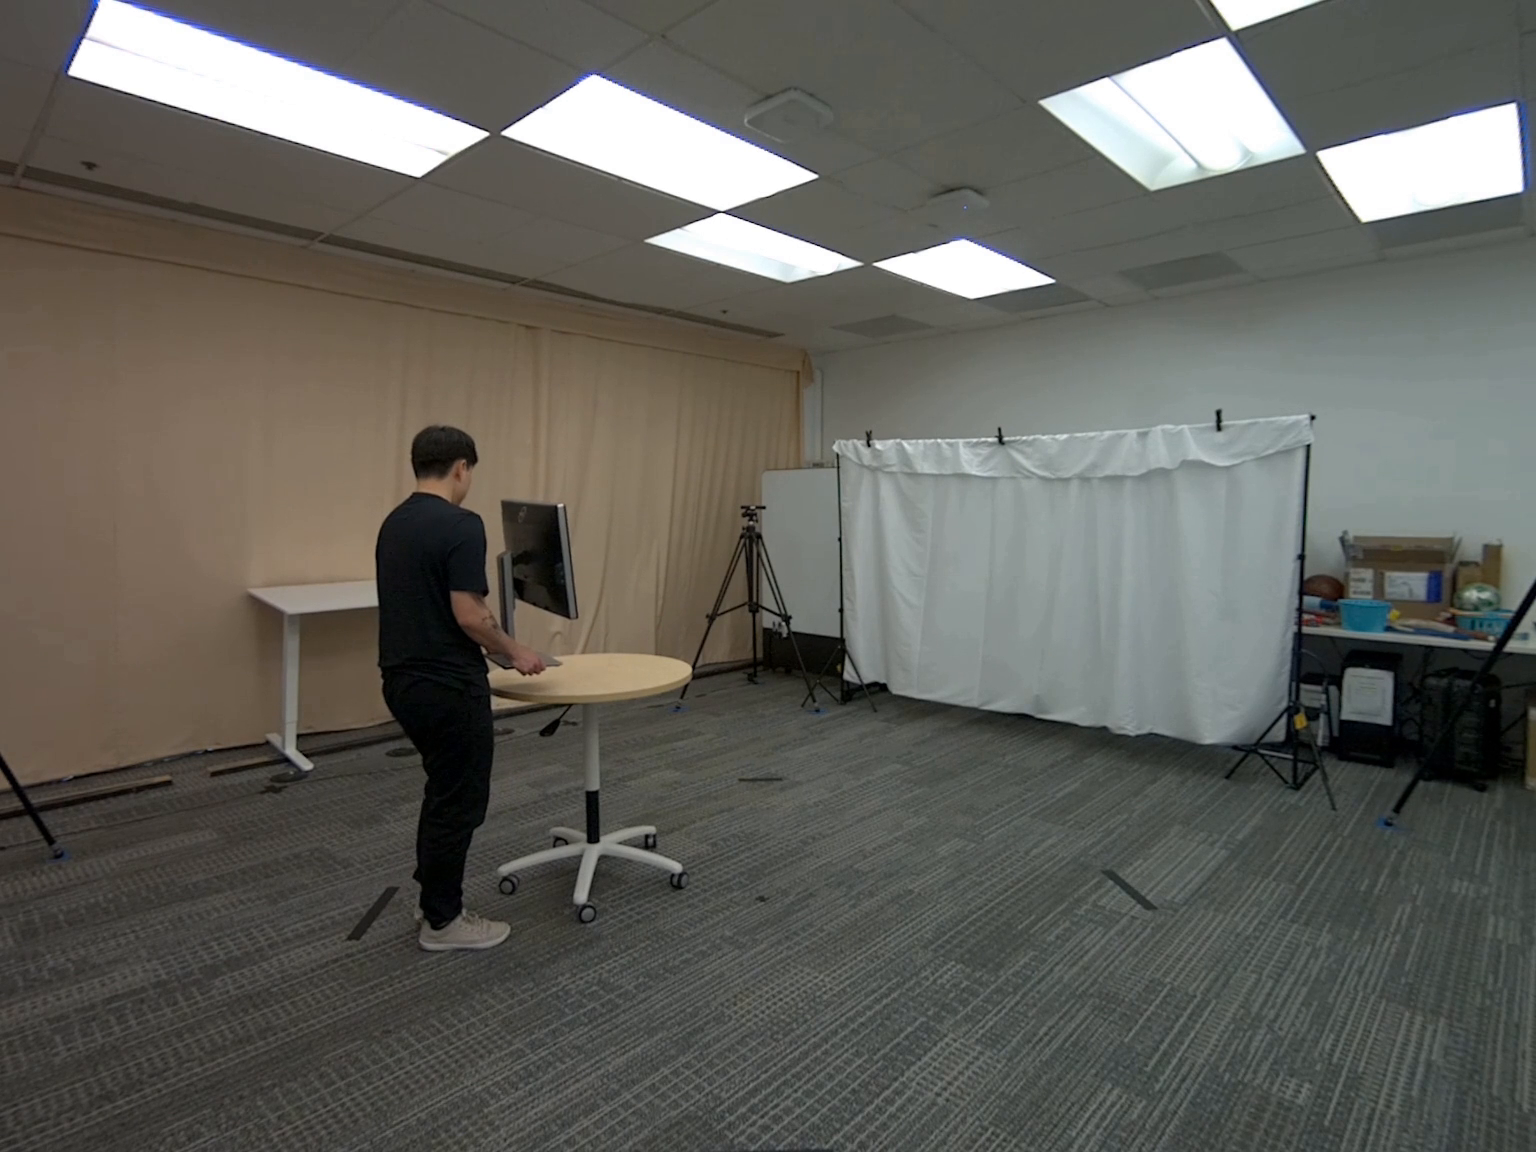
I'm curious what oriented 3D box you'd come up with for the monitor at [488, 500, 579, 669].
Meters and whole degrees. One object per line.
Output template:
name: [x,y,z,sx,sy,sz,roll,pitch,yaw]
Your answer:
monitor: [-0.810,0.018,2.814,0.181,0.522,0.556,3,4,-35]
